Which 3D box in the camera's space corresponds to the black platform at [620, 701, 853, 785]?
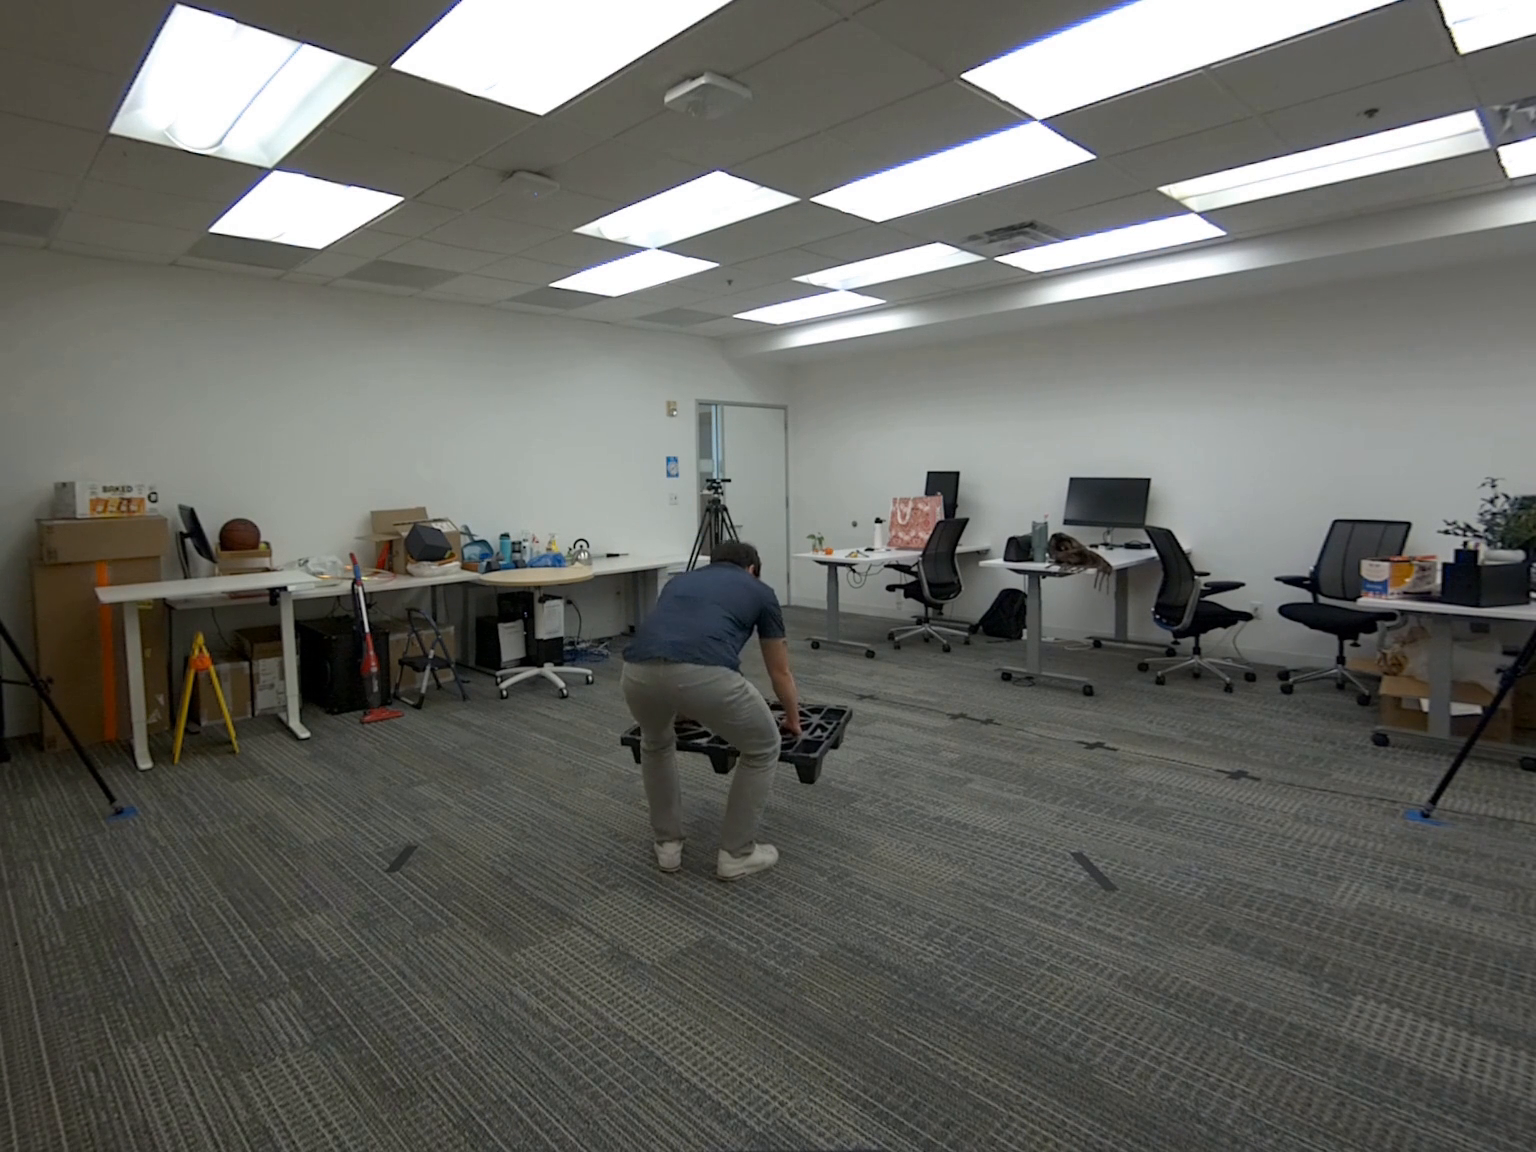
[{"bbox_3d":[-0.106,0.655,3.472,0.821,0.142,0.598,1,10,20],"label":"black platform"}]
